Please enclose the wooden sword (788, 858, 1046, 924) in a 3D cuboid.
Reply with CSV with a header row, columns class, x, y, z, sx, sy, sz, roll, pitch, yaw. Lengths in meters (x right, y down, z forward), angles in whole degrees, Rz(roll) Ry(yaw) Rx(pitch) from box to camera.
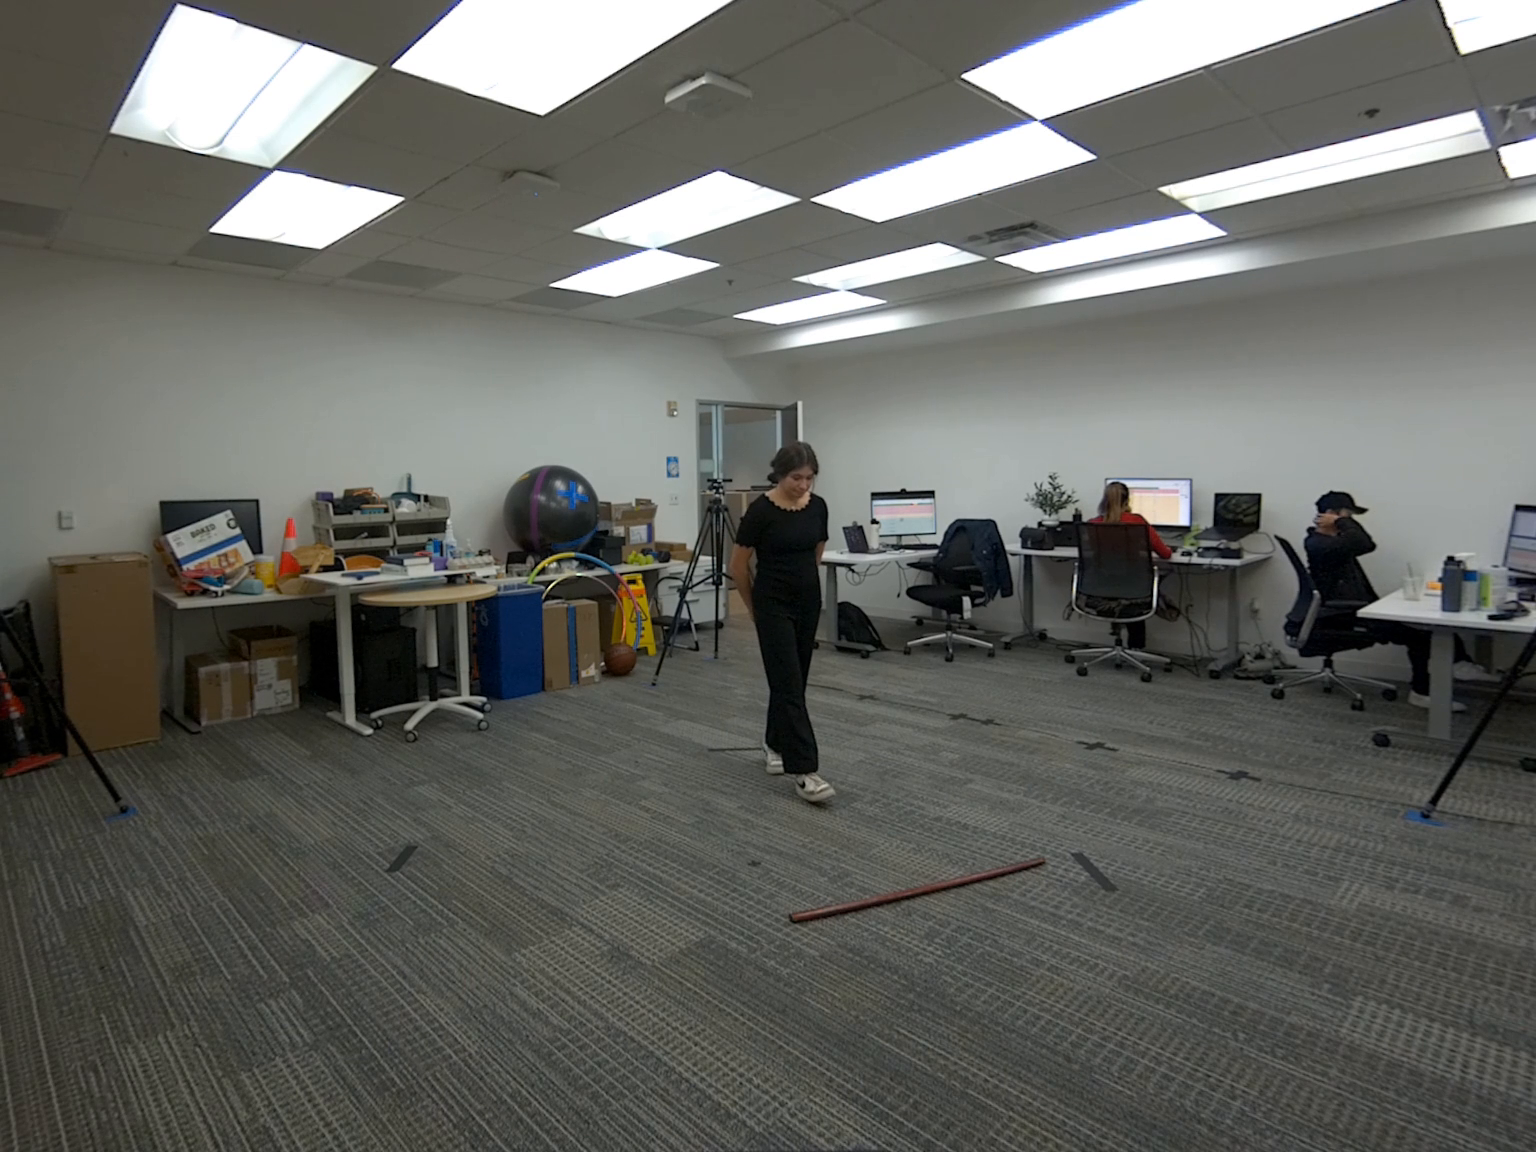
class,x,y,z,sx,sy,sz,roll,pitch,yaw
wooden sword,0.528,1.039,2.877,1.005,0.024,0.053,-3,16,-22
